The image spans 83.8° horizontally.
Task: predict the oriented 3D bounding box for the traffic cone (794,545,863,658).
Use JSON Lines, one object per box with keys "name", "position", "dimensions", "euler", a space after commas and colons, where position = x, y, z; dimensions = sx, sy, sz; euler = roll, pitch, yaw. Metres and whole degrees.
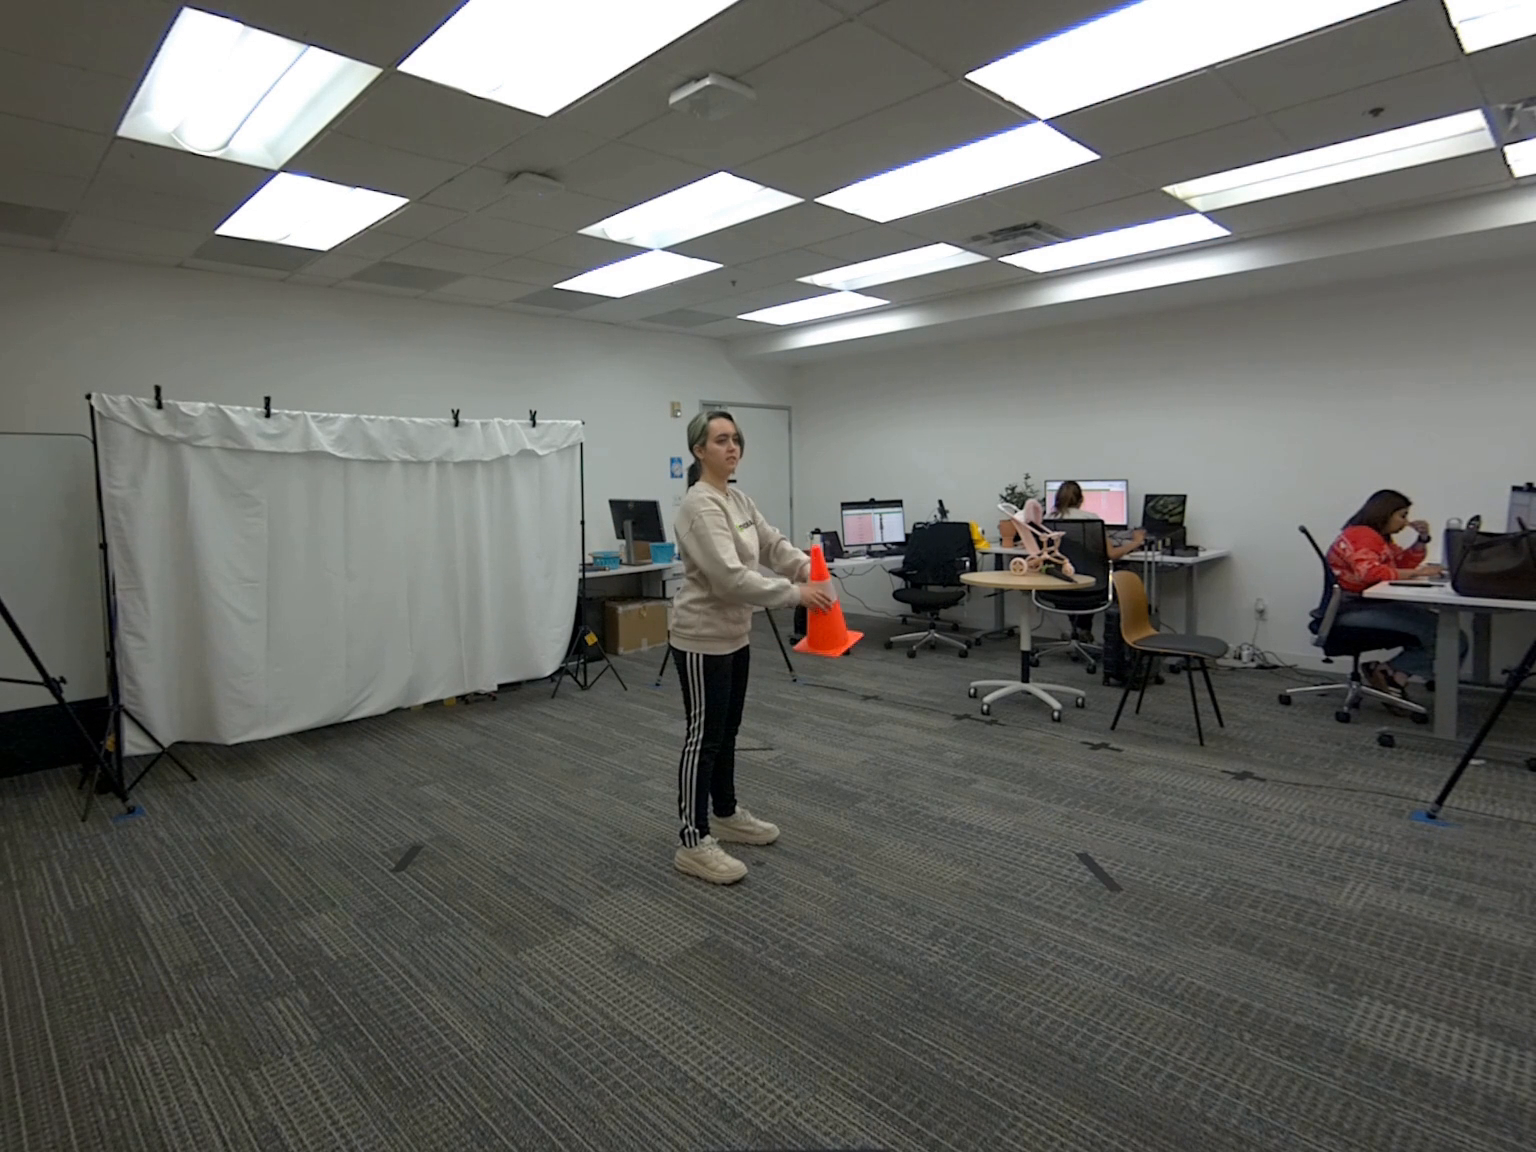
{"name": "traffic cone", "position": [0.185, 0.057, 3.085], "dimensions": [0.209, 0.377, 0.202], "euler": [5, 22, 37]}
